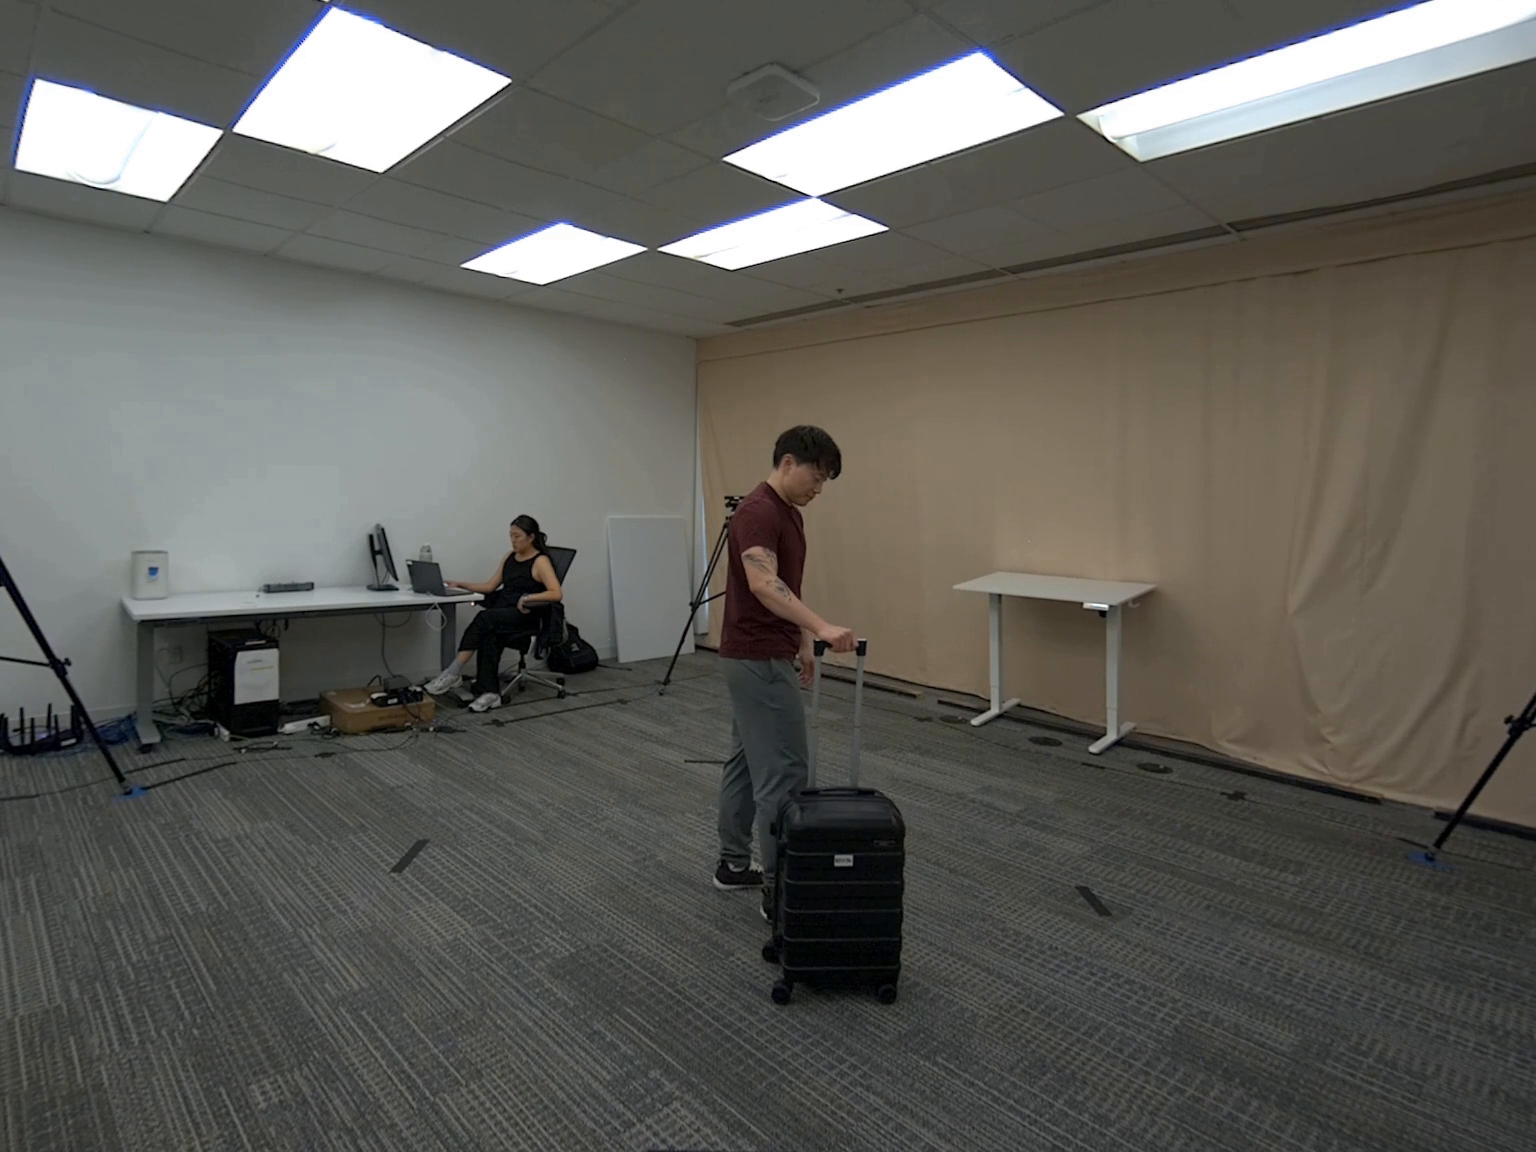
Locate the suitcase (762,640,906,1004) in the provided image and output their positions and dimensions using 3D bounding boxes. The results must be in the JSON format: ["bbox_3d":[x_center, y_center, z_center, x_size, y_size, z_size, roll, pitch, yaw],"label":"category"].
[{"bbox_3d":[0.206,0.701,2.416,0.385,0.975,0.257,3,5,4],"label":"suitcase"}]
